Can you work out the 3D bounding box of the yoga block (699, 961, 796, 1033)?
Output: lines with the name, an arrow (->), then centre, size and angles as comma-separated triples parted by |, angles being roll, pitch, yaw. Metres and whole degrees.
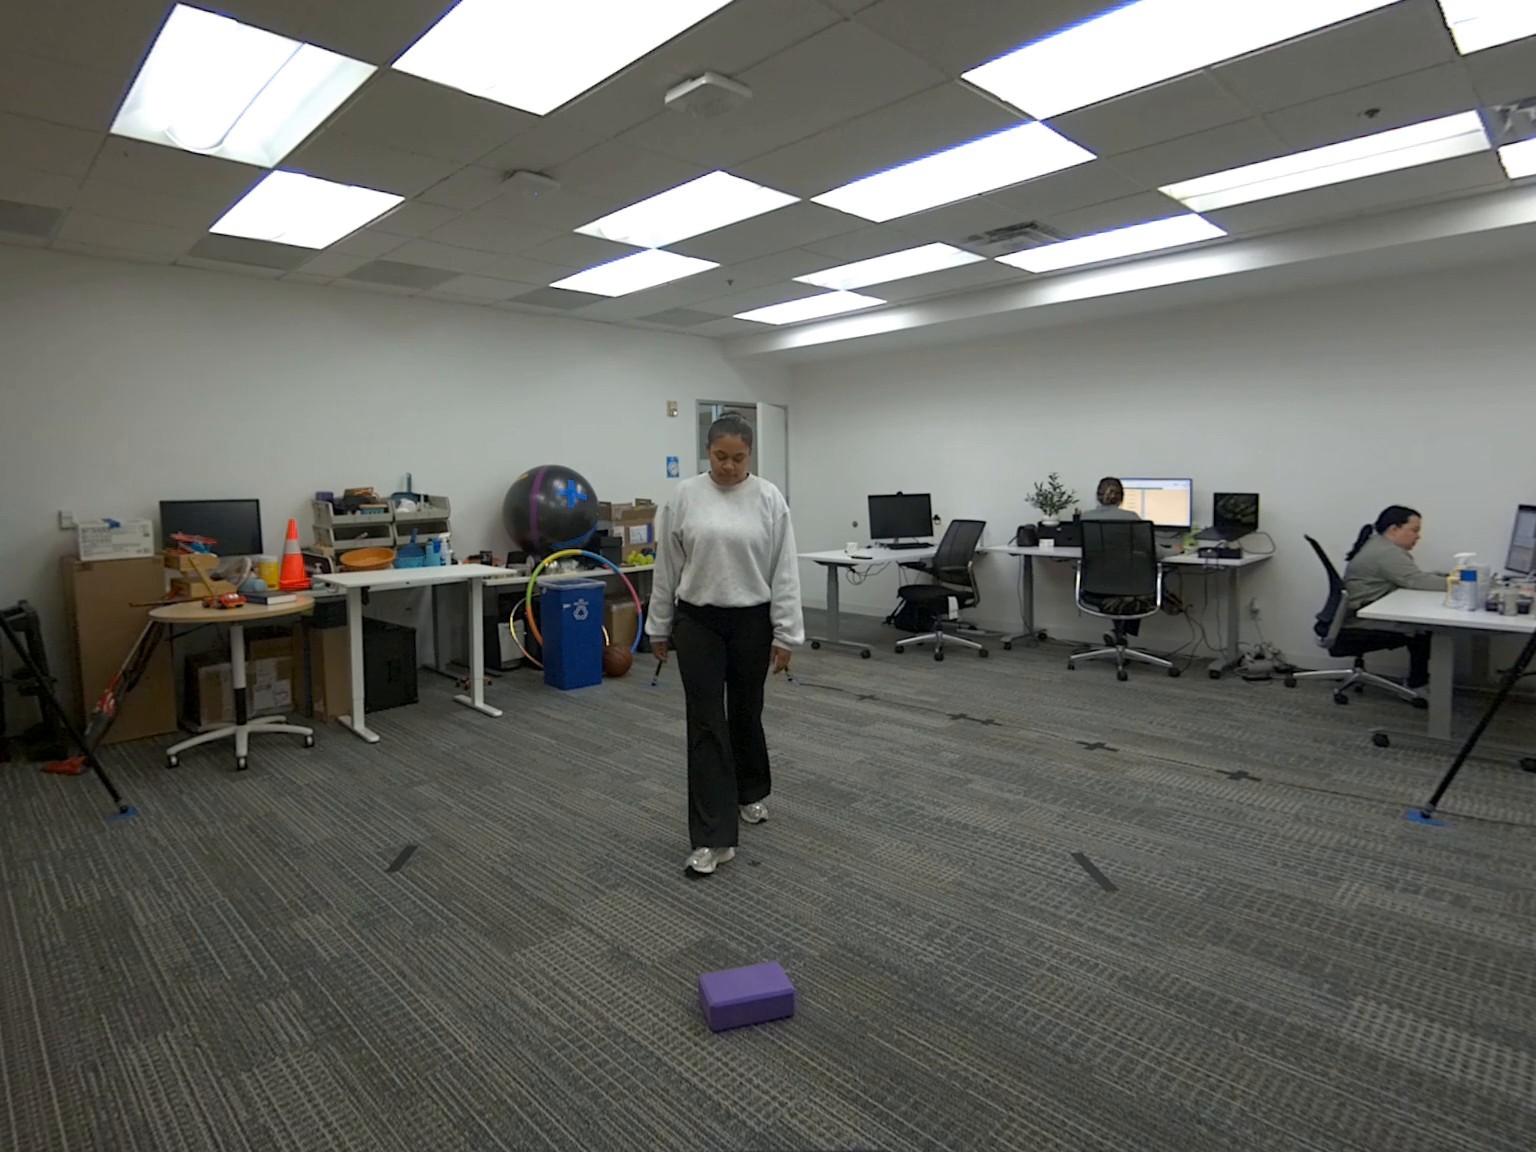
yoga block -> -0.058, 1.110, 2.256 | 0.226, 0.076, 0.152 | -2, 6, -15
